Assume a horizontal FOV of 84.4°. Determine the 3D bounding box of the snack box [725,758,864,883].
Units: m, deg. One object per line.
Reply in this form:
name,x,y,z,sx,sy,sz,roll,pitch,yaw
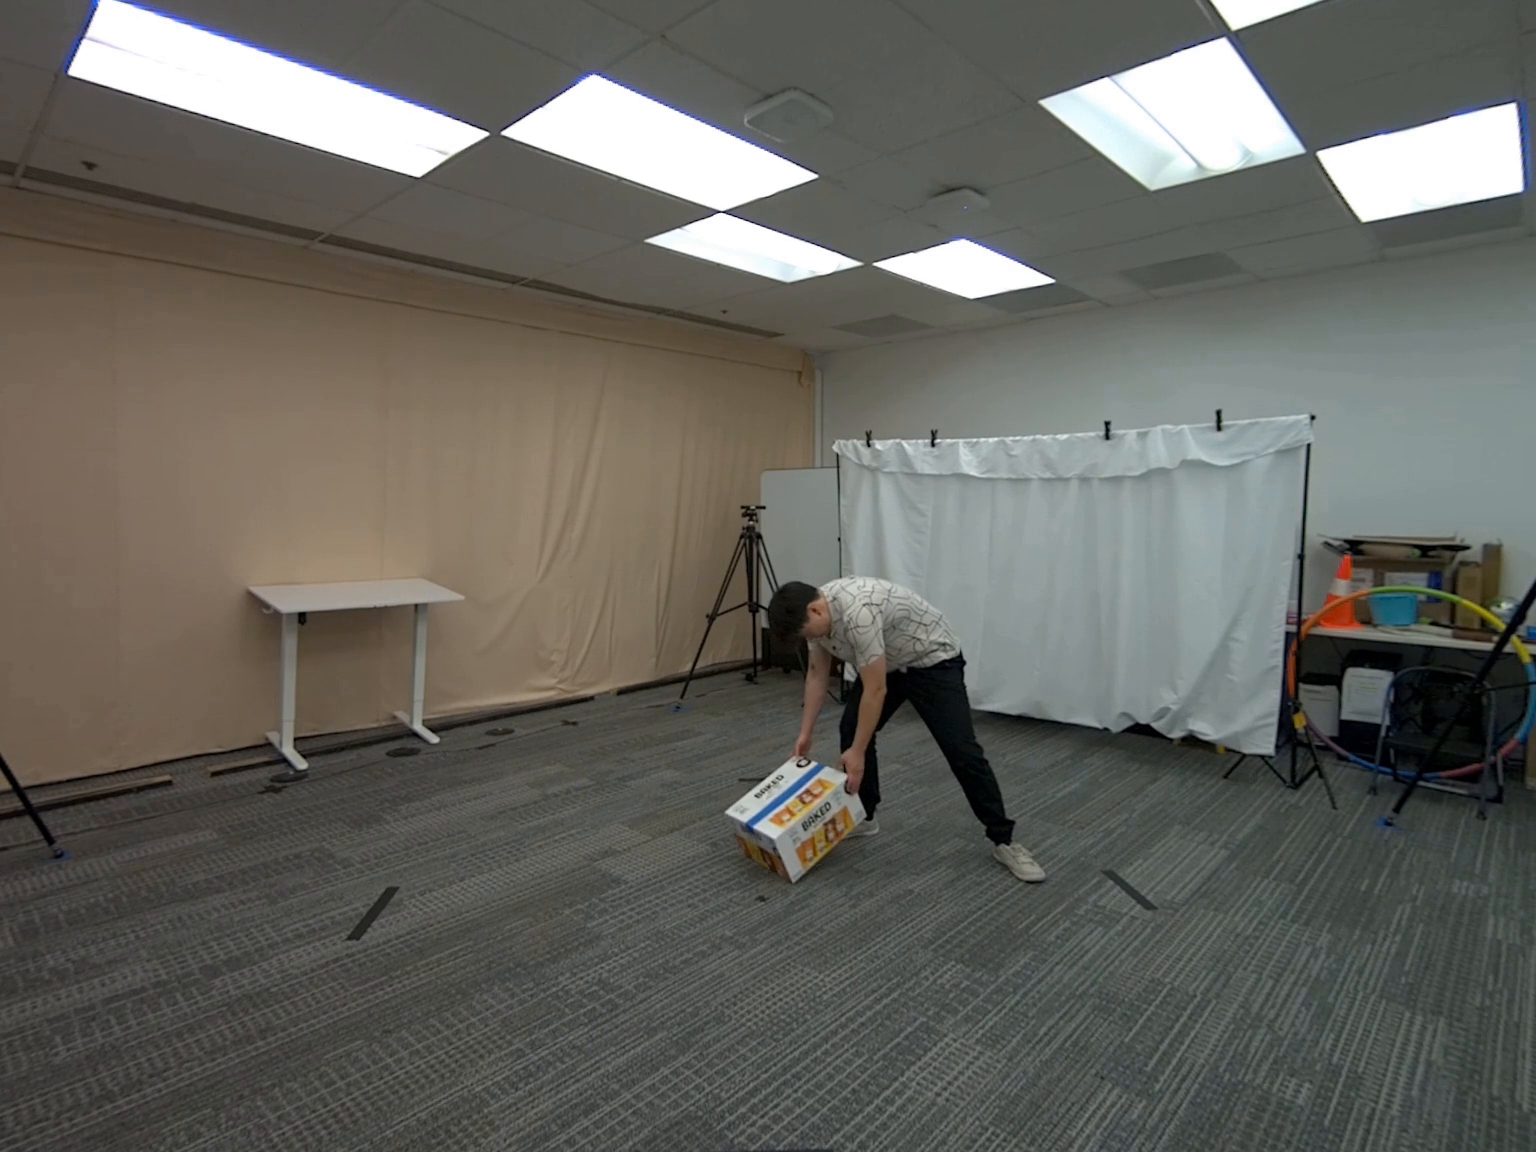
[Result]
snack box,0.110,0.940,3.306,0.399,0.202,0.351,-33,19,-28
